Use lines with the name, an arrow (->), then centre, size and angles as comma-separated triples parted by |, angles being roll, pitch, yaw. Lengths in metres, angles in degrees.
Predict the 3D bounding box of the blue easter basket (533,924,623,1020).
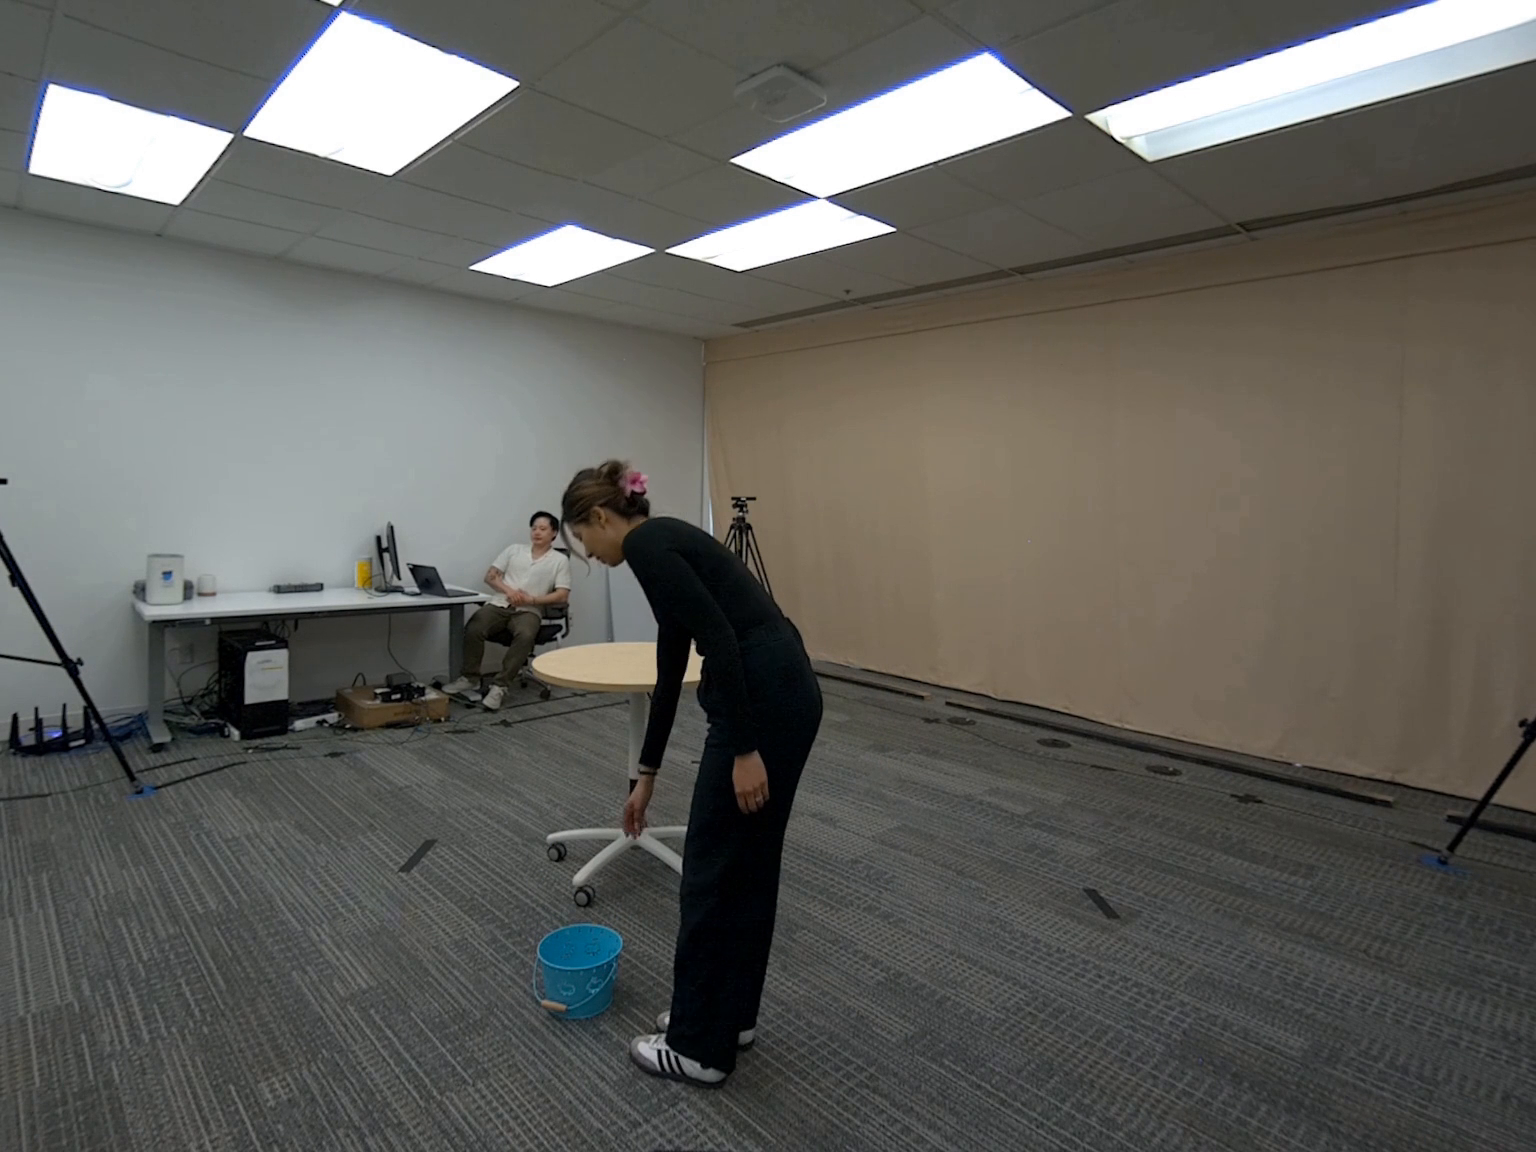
blue easter basket -> -0.529, 1.095, 2.316 | 0.243, 0.155, 0.244 | 1, 5, -1
